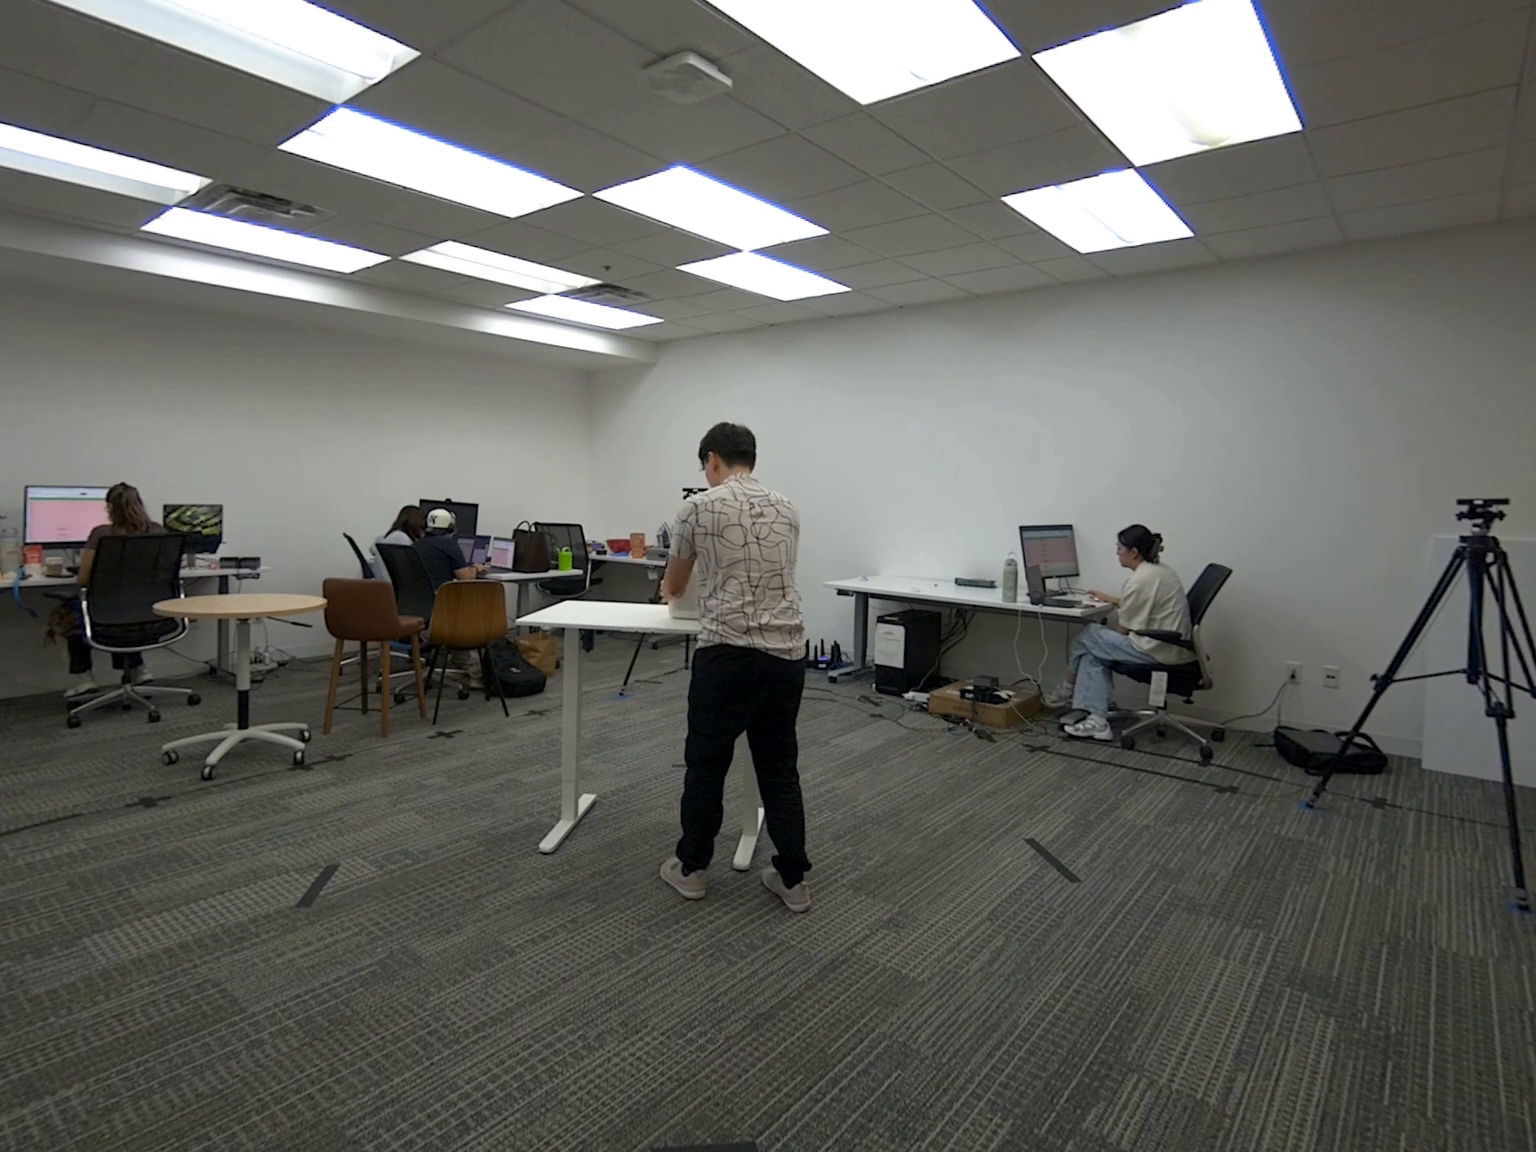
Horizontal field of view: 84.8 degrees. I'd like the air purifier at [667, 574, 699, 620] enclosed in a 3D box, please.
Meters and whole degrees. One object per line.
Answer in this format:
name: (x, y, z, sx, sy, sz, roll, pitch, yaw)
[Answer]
air purifier: (-0.312, 0.029, 3.372, 0.173, 0.264, 0.170, 3, 5, 9)
